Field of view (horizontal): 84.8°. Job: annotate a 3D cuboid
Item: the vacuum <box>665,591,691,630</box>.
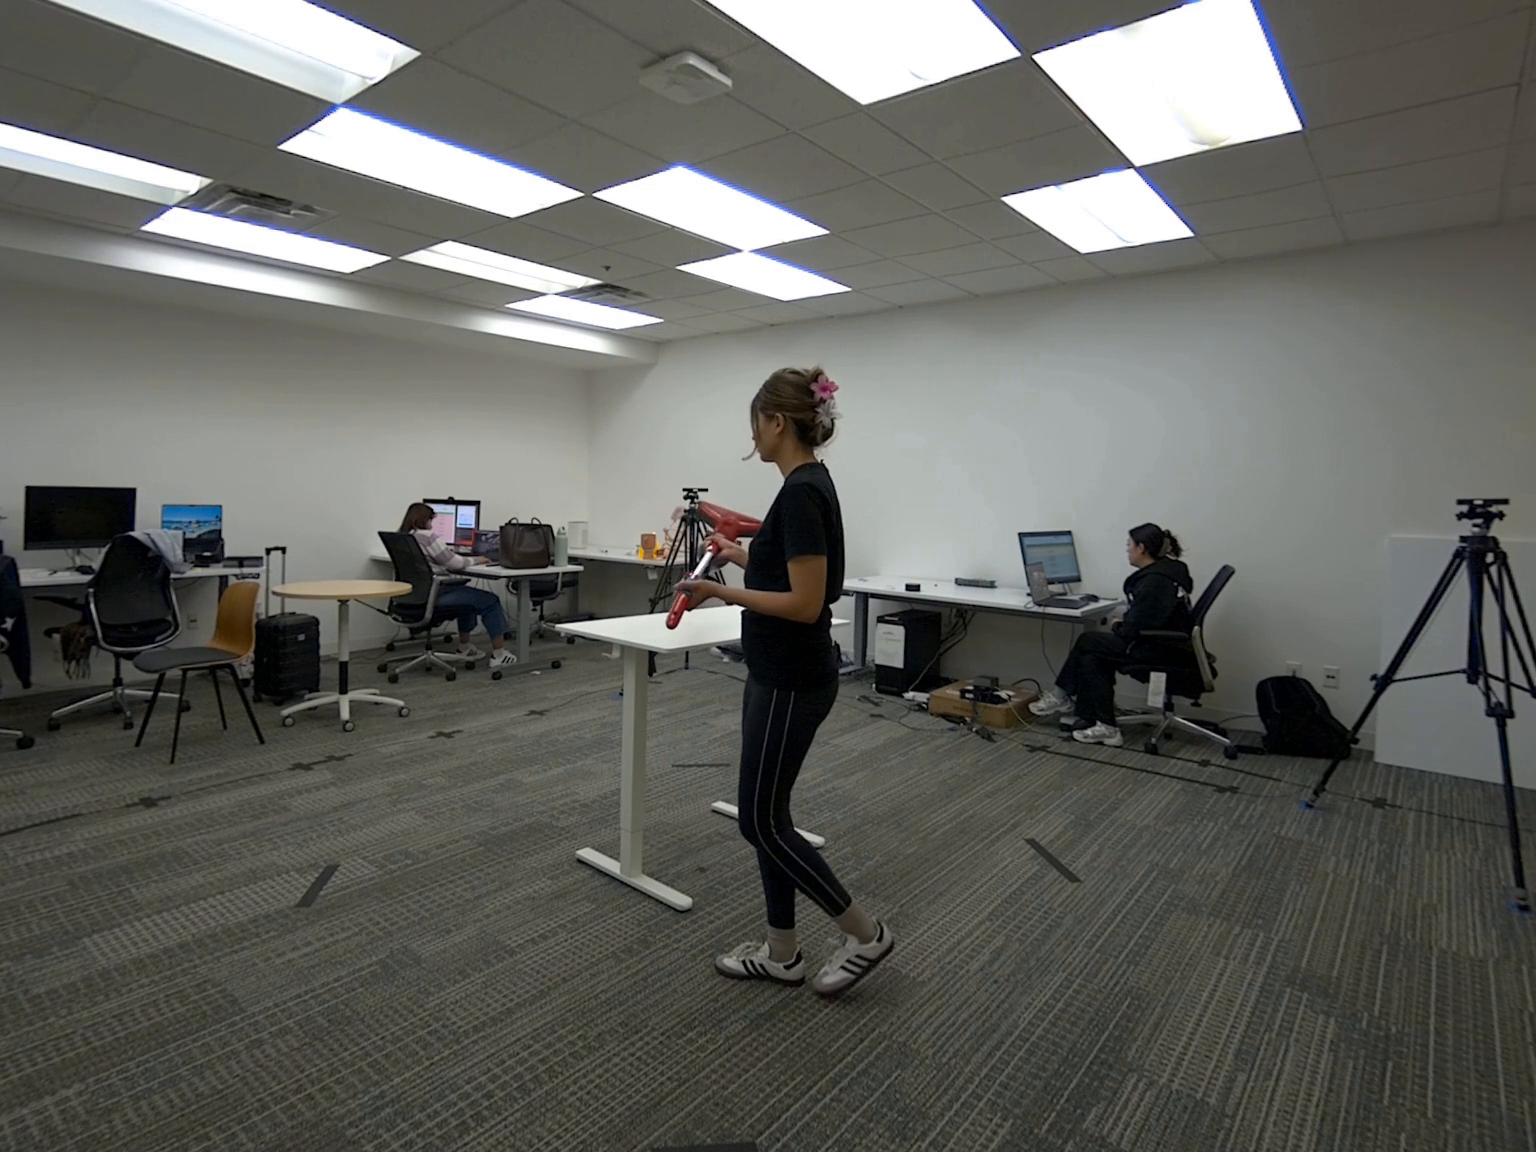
[{"bbox_3d":[-0.179,-0.027,2.527,0.252,0.143,1.057,24,16,-3],"label":"vacuum"}]
